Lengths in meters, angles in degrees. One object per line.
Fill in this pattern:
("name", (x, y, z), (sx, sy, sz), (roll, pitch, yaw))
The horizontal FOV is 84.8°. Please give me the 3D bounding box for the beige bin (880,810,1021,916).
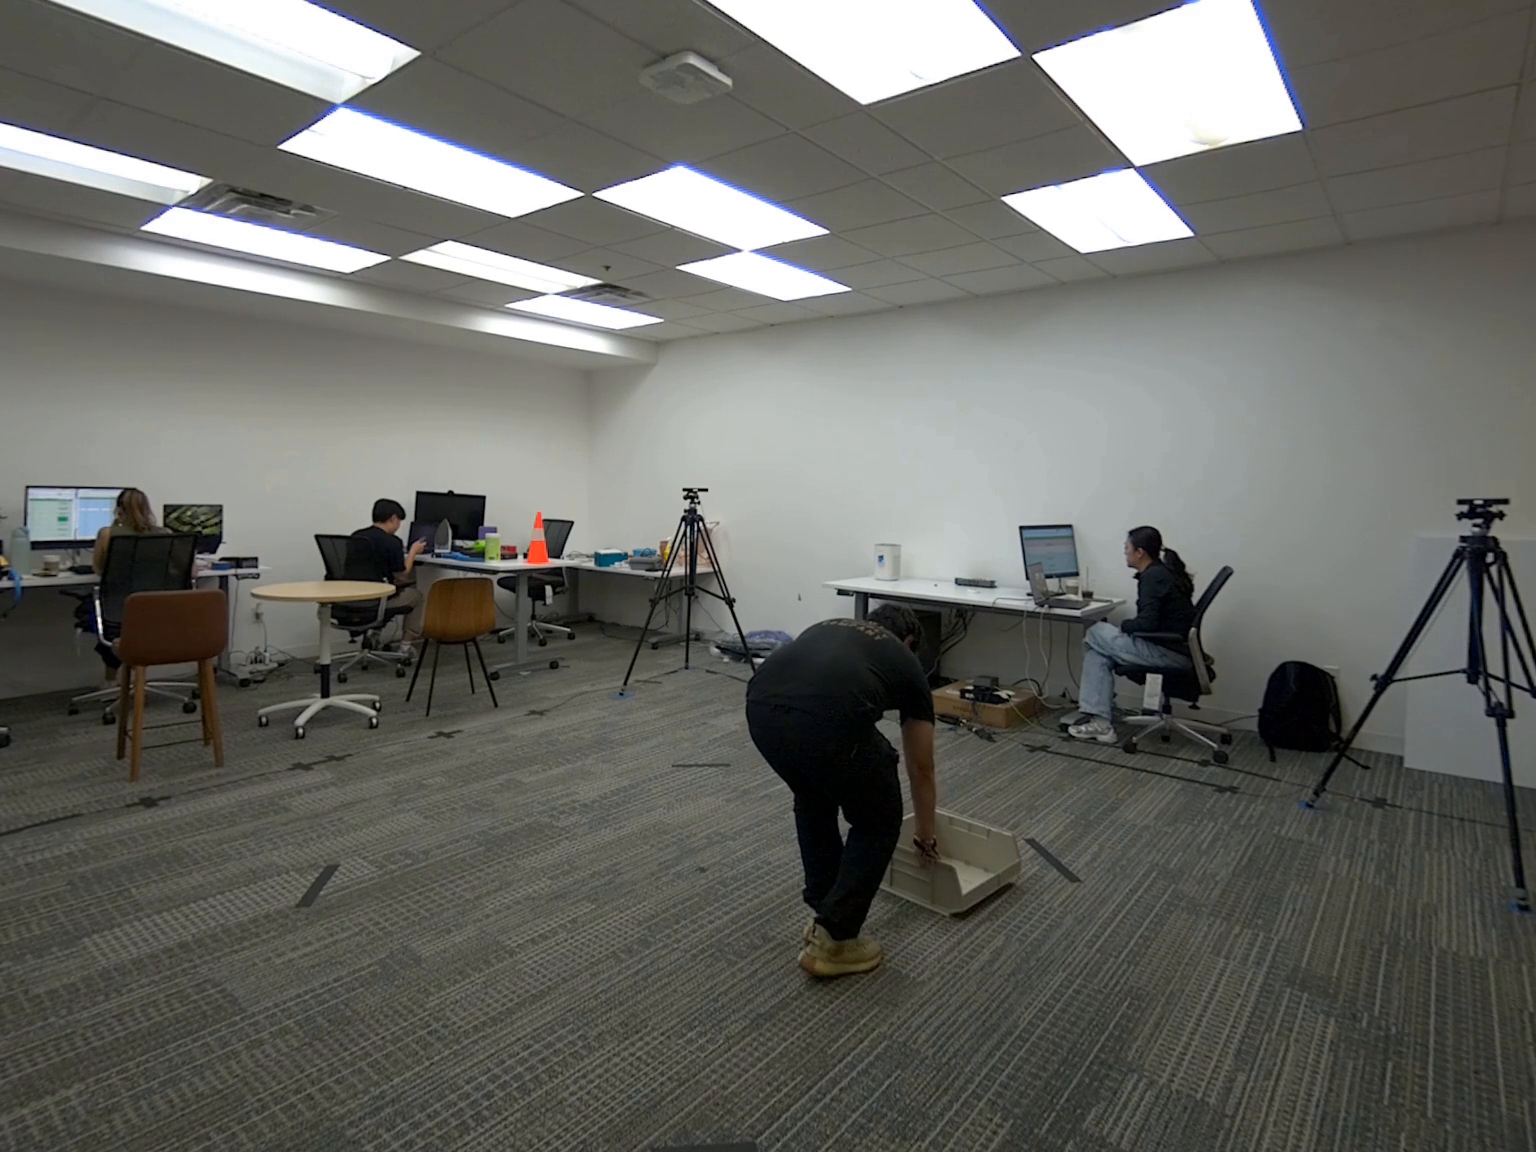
("beige bin", (0.625, 1.006, 3.032), (0.390, 0.188, 0.410), (4, 6, 44))
